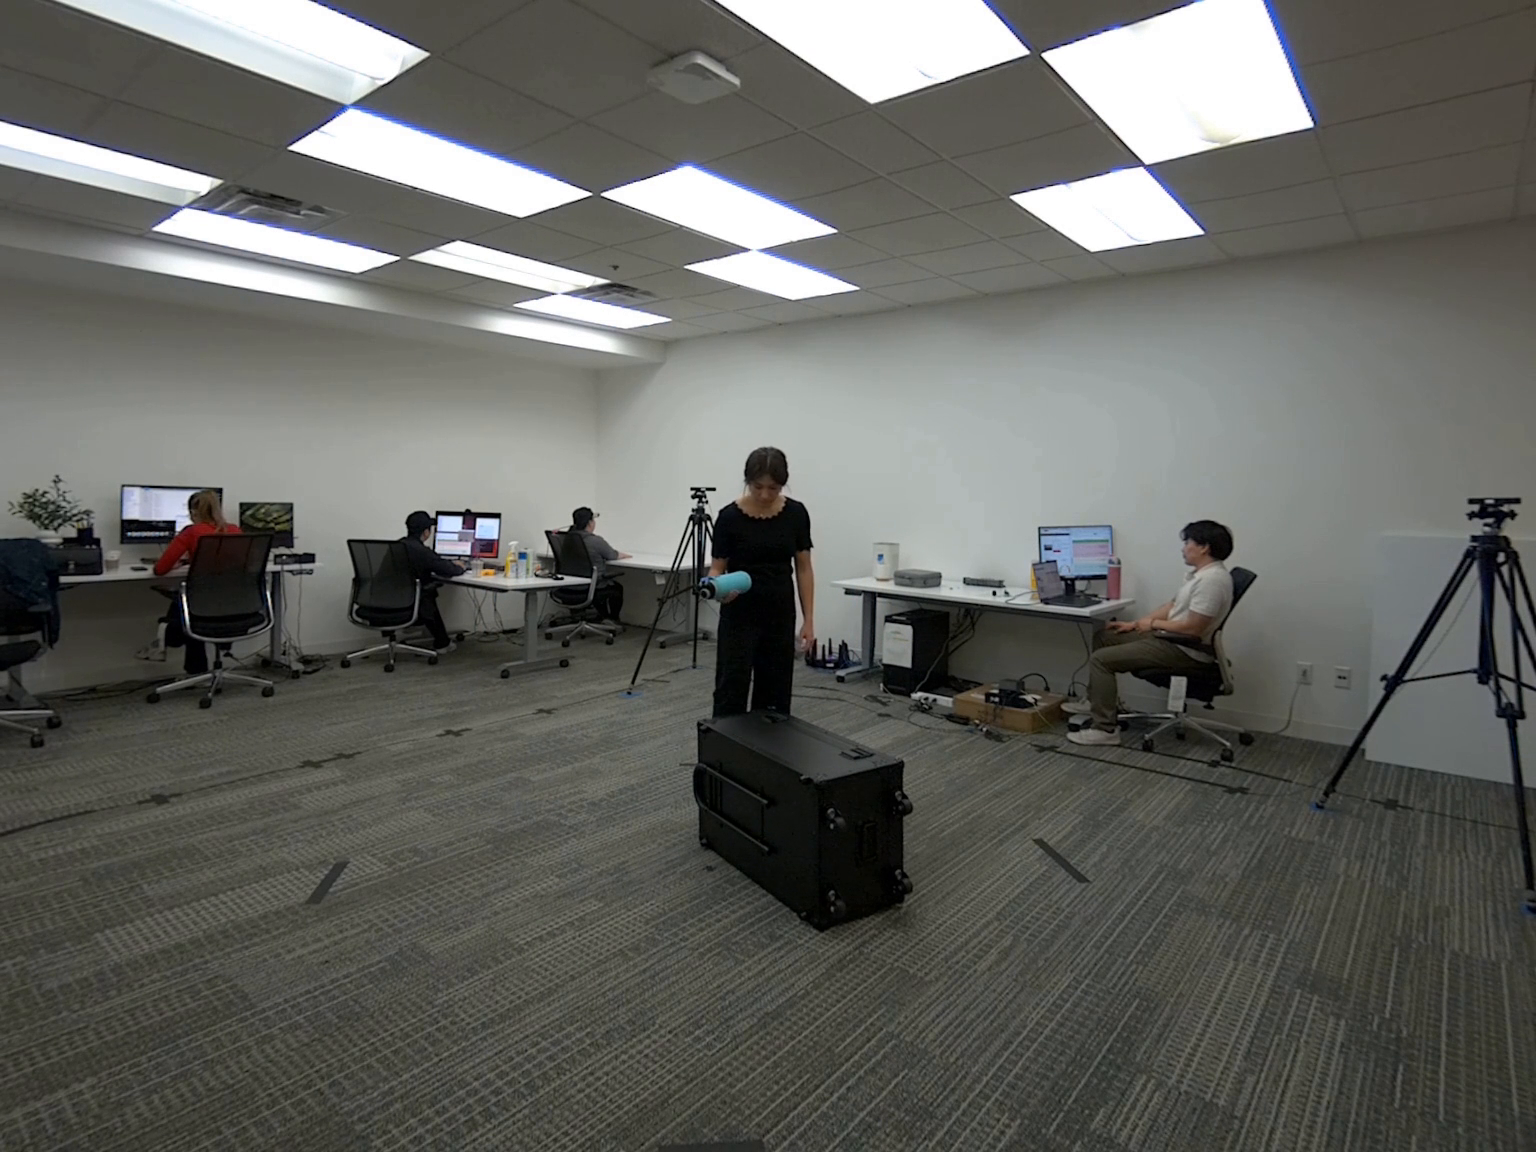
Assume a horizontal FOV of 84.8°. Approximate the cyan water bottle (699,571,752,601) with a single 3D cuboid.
[{"bbox_3d":[-0.189,0.040,3.412,0.095,0.092,0.276,3,8,31],"label":"cyan water bottle"}]
